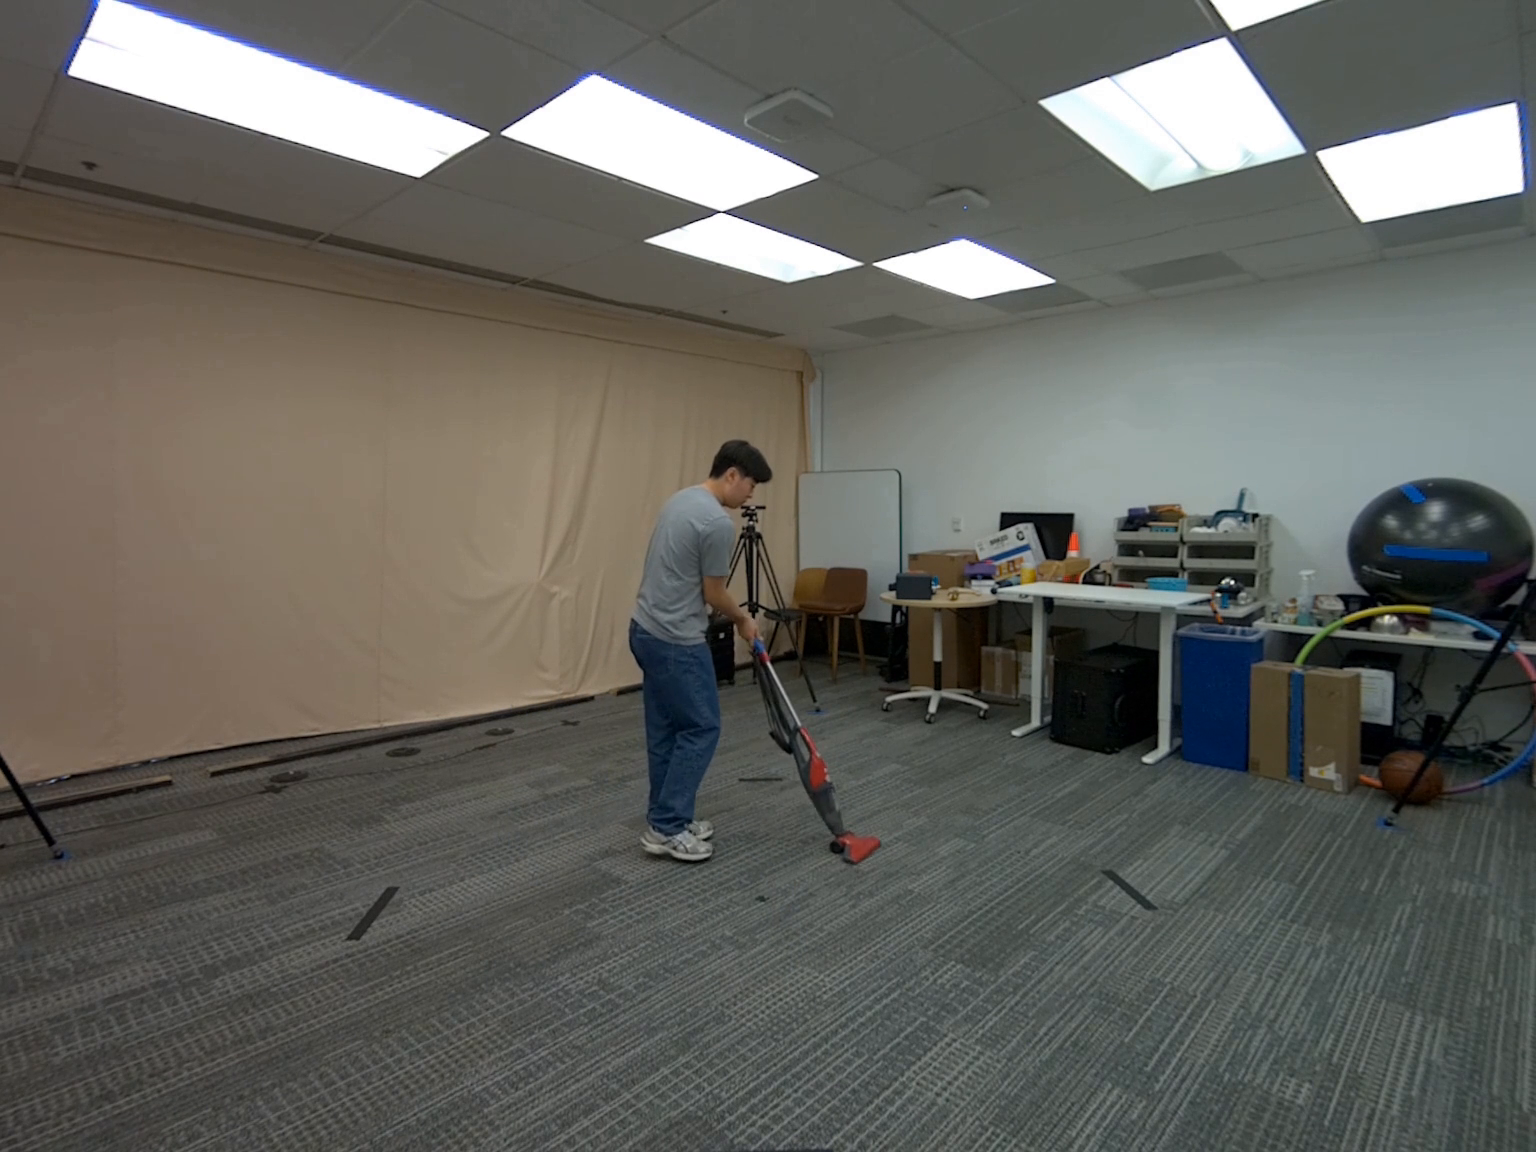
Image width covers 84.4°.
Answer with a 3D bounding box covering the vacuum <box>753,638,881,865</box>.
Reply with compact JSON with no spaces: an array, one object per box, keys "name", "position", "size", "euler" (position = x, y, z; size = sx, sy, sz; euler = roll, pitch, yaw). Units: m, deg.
[{"name":"vacuum","position":[0.114,0.651,3.506],"size":[0.145,1.065,0.246],"euler":[-34,-15,22]}]
